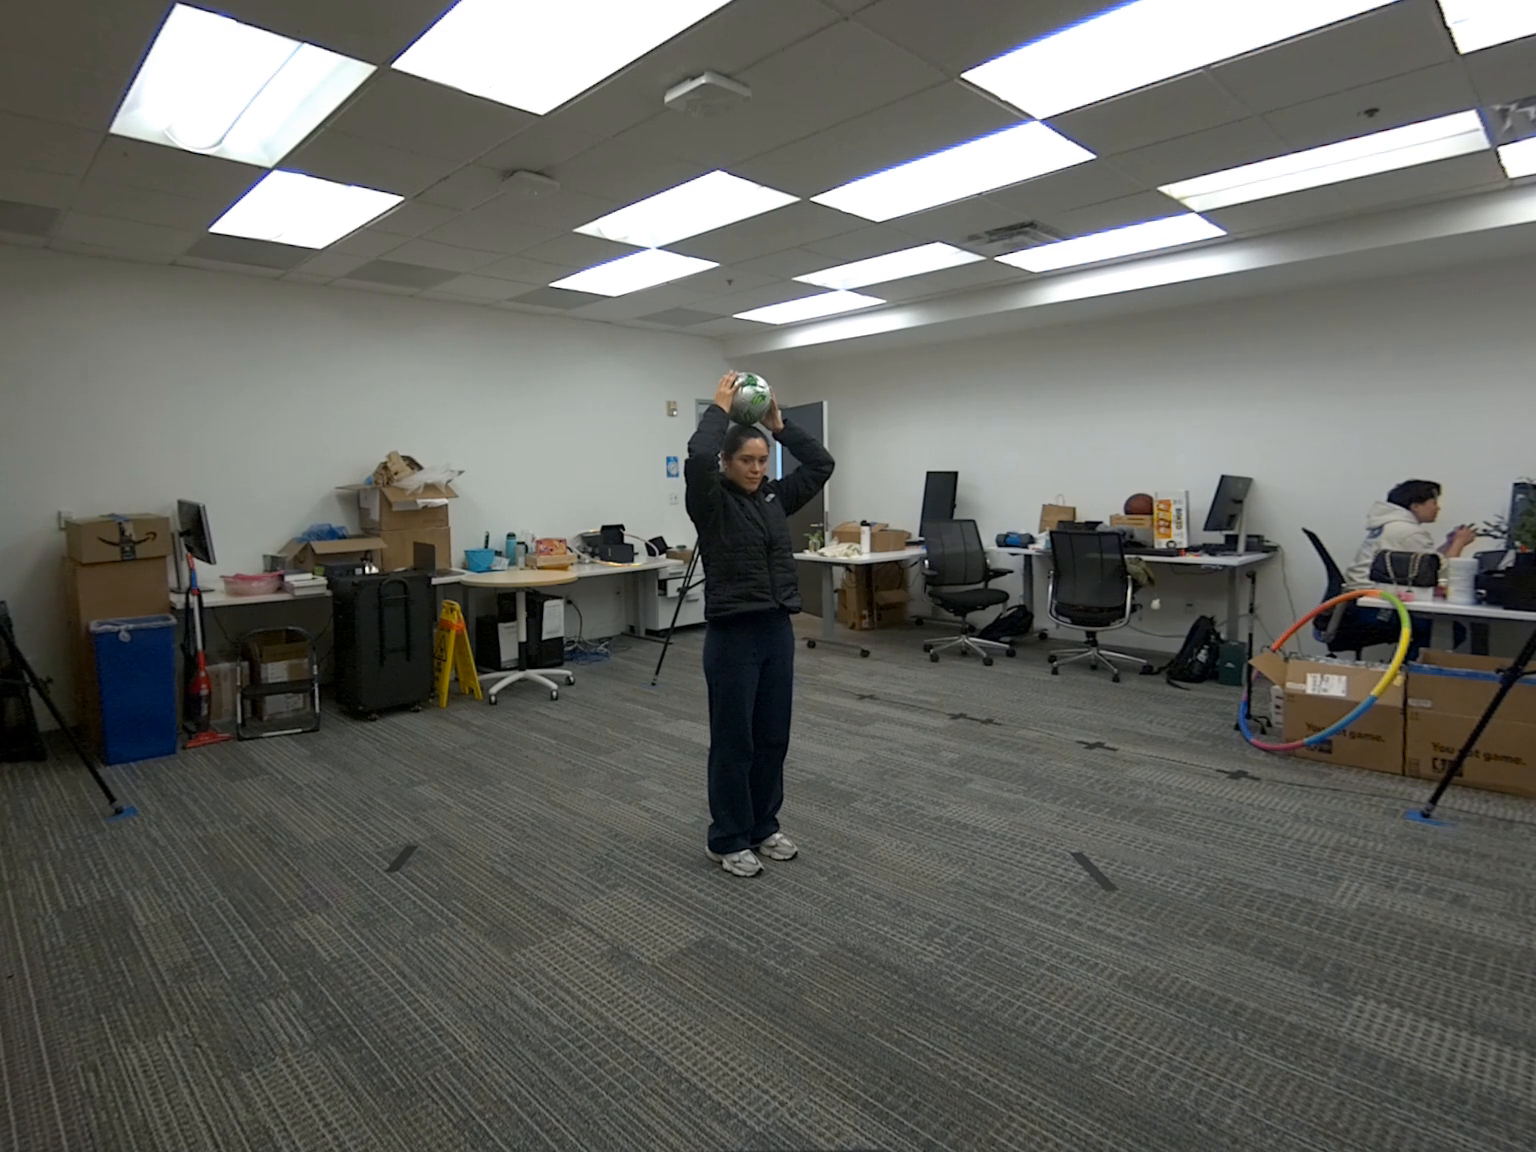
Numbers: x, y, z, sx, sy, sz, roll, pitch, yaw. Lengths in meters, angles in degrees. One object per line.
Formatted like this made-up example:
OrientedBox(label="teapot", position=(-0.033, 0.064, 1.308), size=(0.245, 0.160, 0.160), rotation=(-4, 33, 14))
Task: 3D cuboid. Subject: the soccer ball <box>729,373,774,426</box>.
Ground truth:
OrientedBox(label="soccer ball", position=(-0.083, -0.639, 3.071), size=(0.187, 0.187, 0.188), rotation=(-1, 5, -2))
